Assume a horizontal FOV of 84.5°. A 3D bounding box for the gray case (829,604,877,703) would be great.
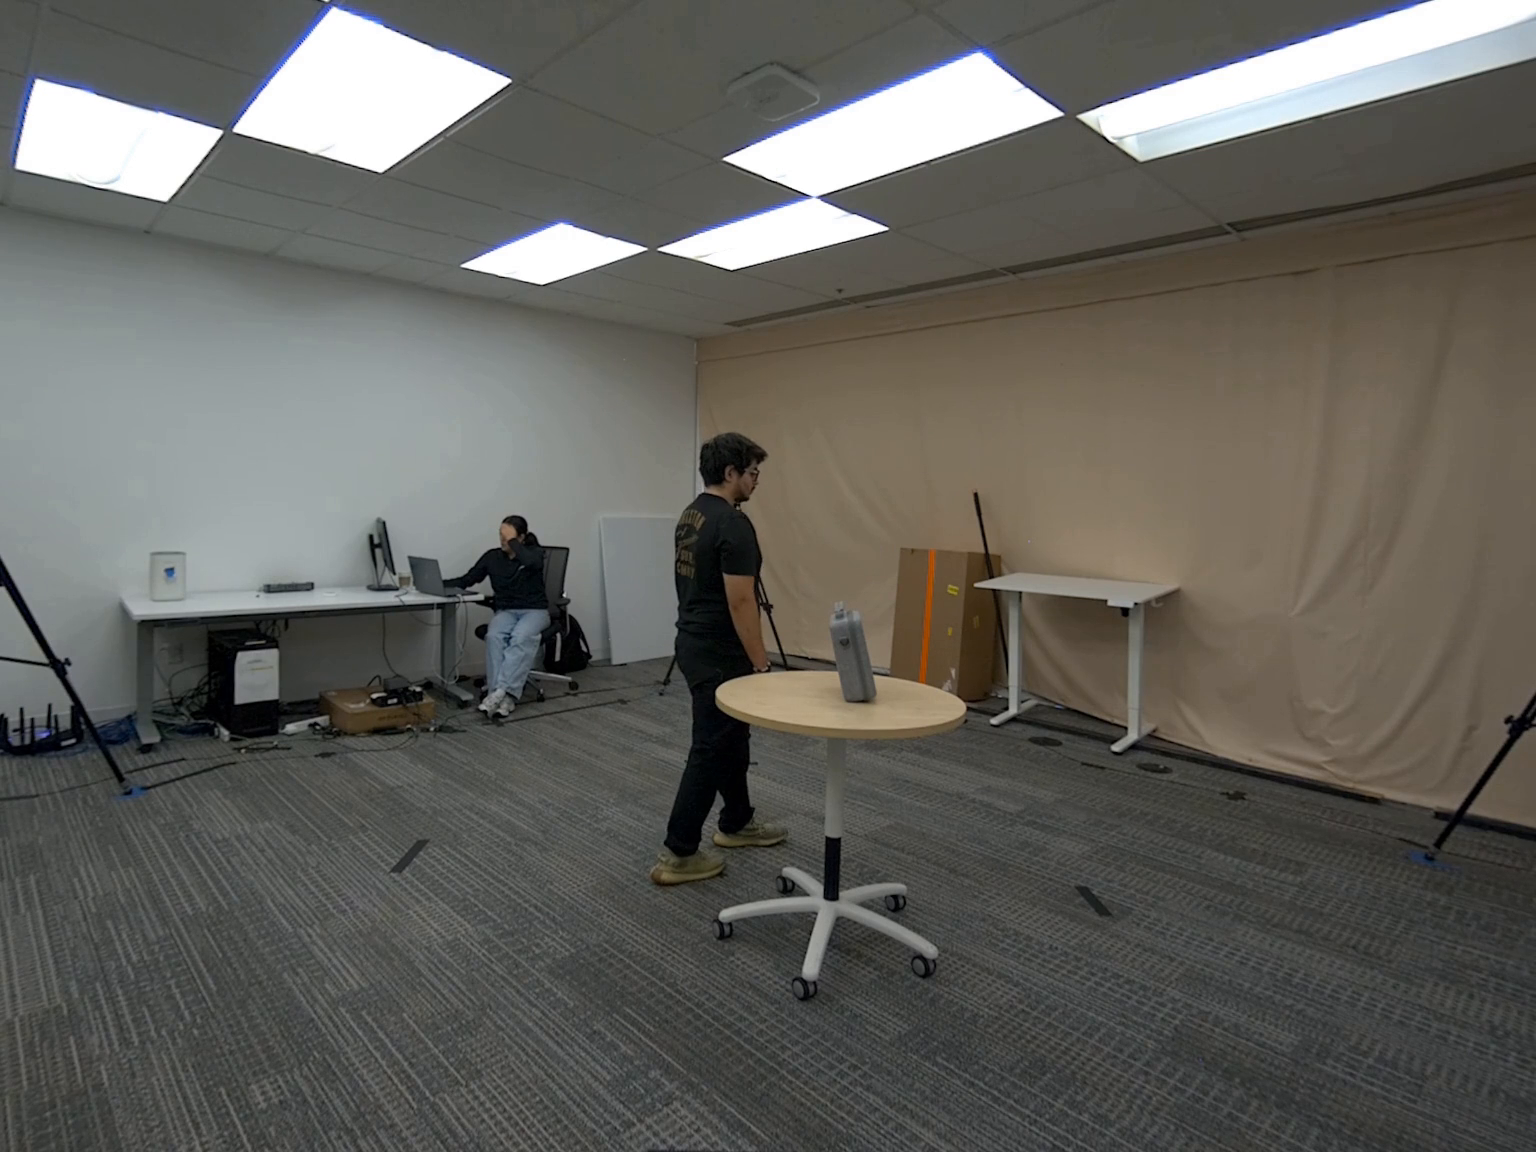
[{"bbox_3d":[0.261,0.247,2.633,0.105,0.260,0.256,-9,1,5],"label":"gray case"}]
